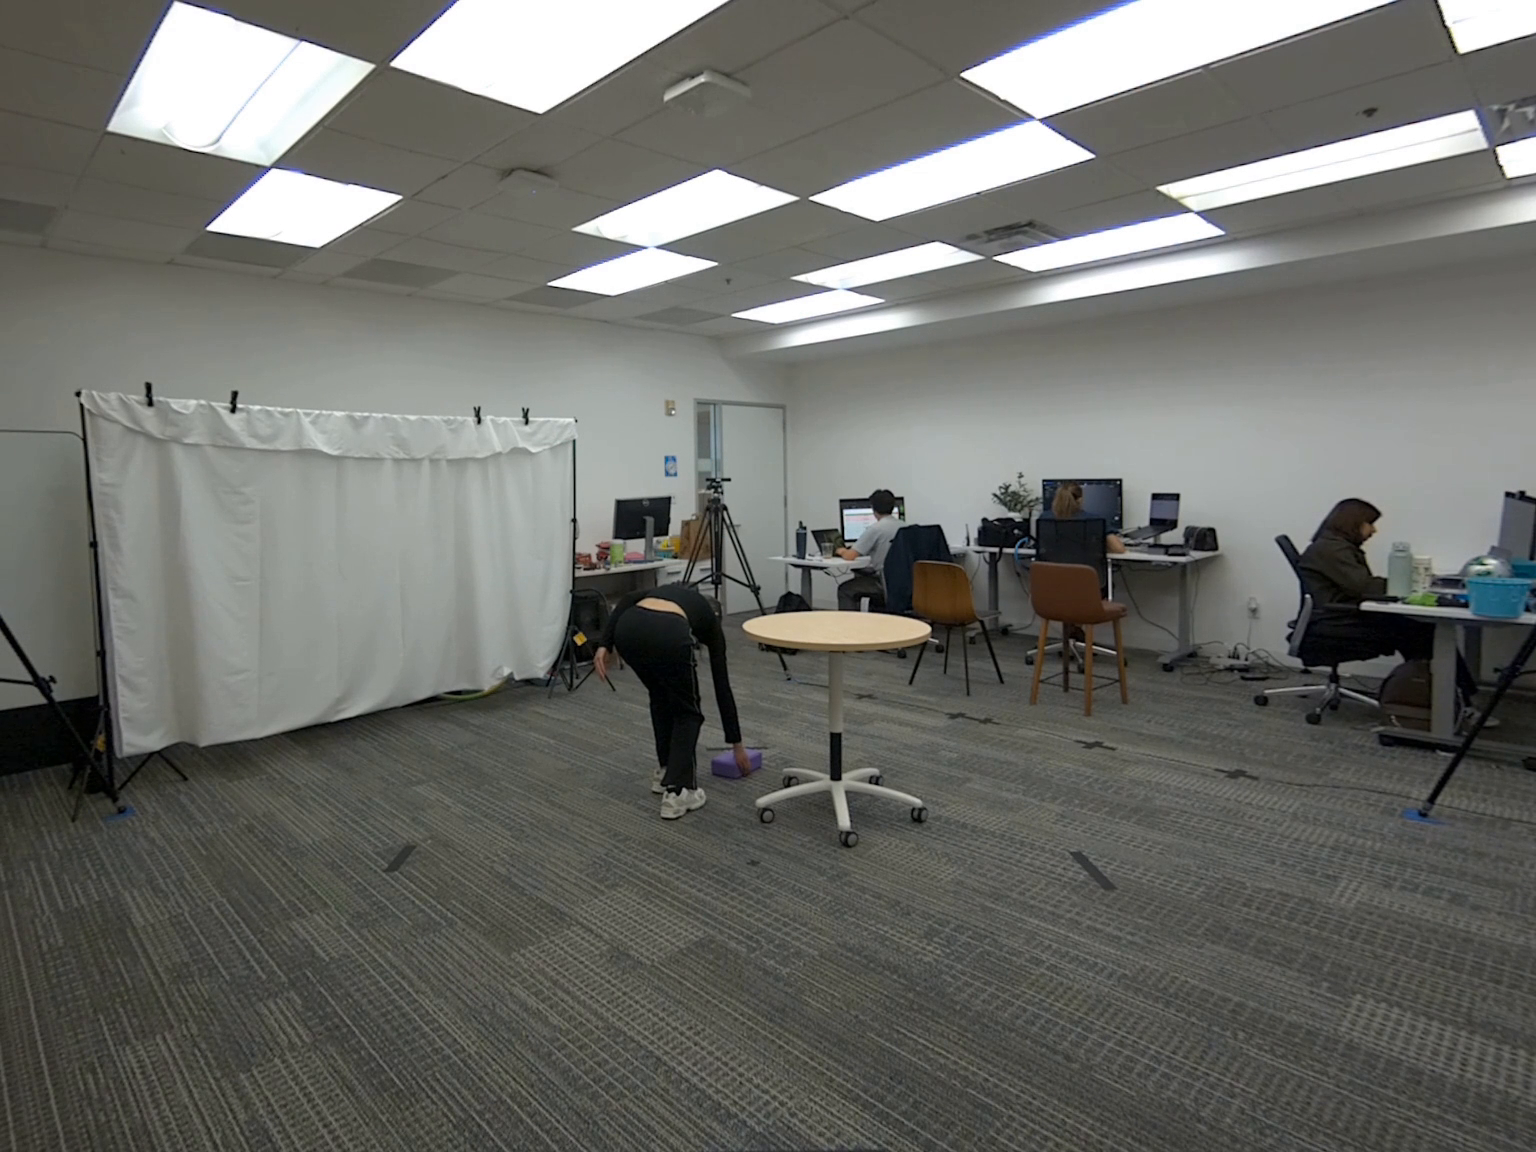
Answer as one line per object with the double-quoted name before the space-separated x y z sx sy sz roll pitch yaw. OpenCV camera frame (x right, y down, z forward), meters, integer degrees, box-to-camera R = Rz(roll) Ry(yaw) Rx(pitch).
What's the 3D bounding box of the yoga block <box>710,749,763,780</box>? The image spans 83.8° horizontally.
"yoga block" -0.146 0.894 4.103 0.153 0.076 0.224 1 6 34
